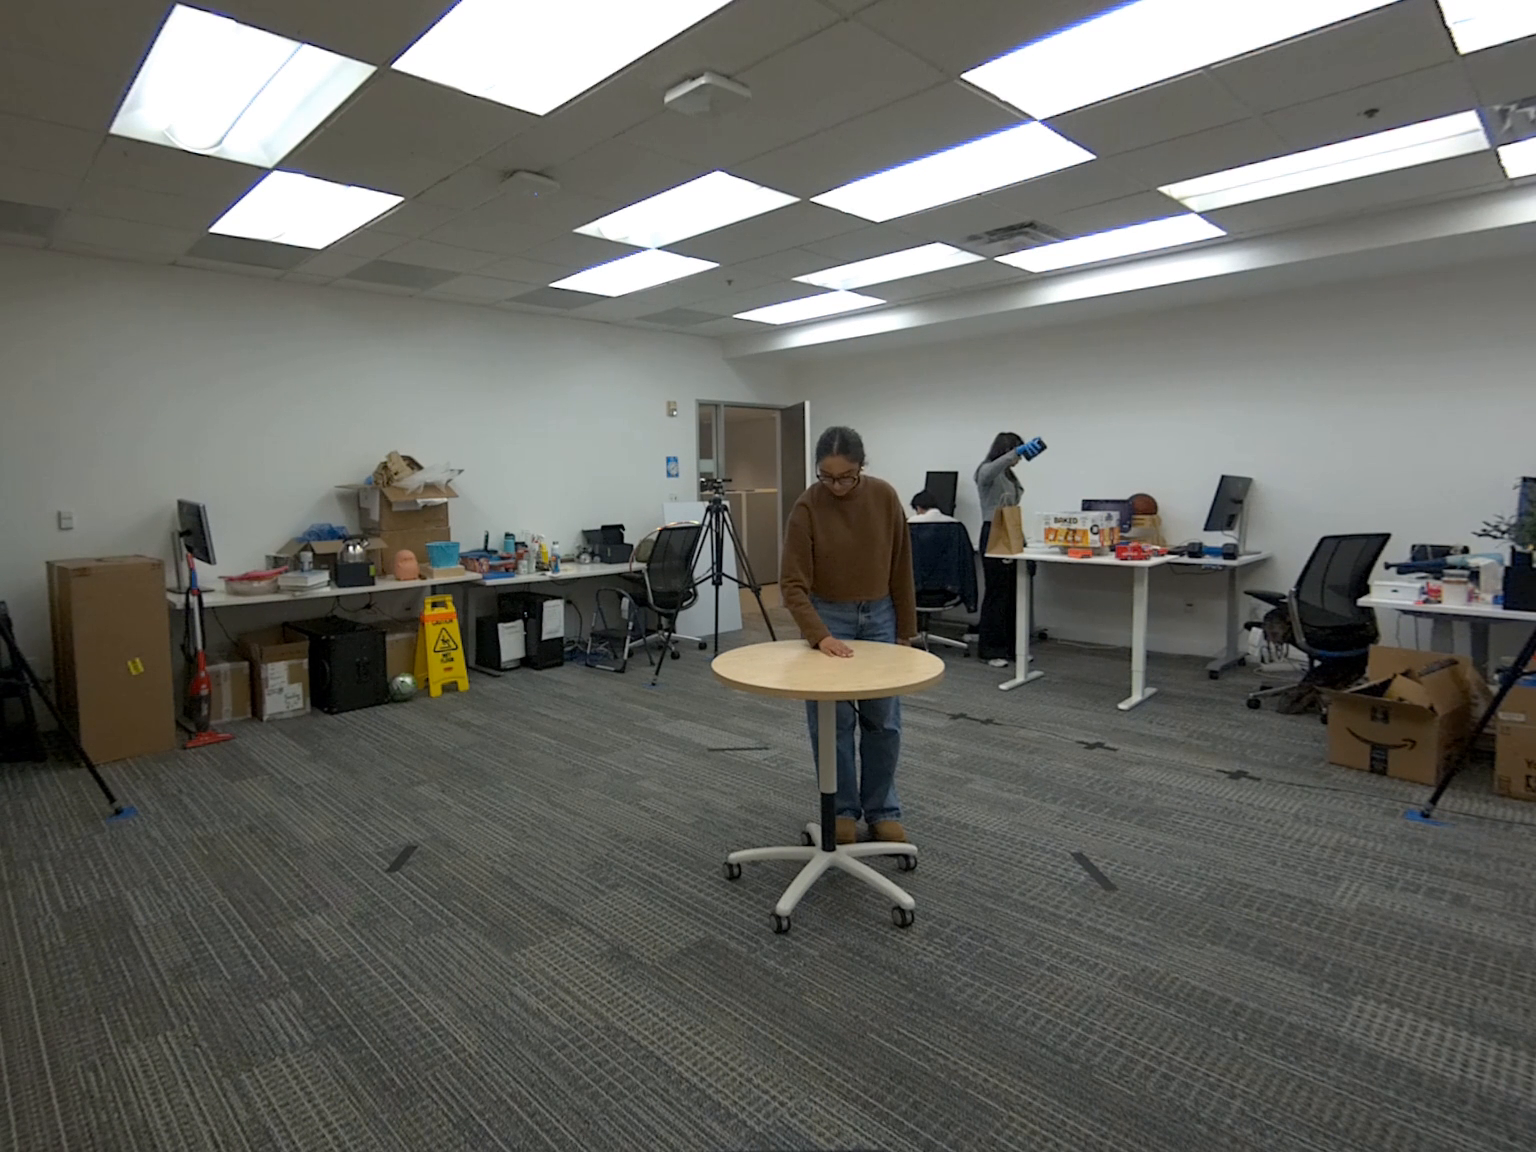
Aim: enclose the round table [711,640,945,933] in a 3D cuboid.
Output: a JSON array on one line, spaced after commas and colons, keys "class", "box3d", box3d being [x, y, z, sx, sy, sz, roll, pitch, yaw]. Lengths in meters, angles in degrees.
[{"class": "round table", "box3d": [0.205, 0.682, 2.870, 0.763, 0.791, 0.768, -1, 5, -2]}]
